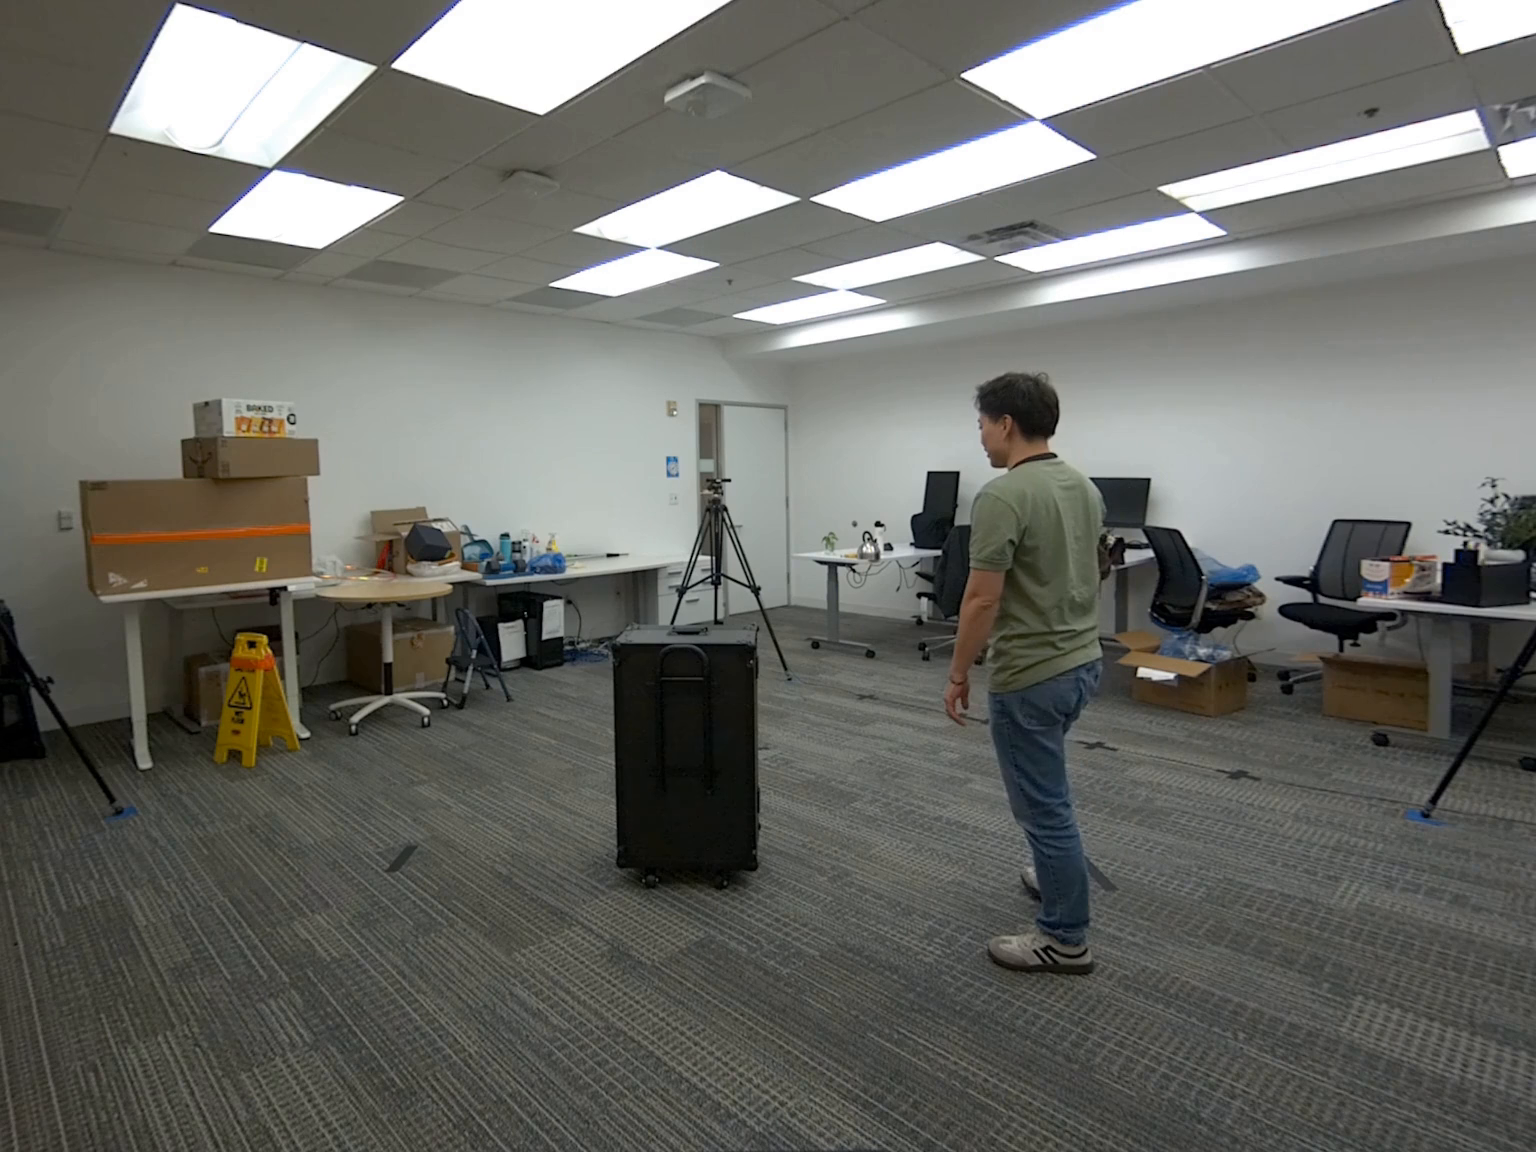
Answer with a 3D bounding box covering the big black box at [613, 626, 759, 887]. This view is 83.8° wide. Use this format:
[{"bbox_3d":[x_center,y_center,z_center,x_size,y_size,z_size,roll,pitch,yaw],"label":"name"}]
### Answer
[{"bbox_3d":[-0.272,0.631,3.049,0.523,0.858,0.396,0,4,3],"label":"big black box"}]
